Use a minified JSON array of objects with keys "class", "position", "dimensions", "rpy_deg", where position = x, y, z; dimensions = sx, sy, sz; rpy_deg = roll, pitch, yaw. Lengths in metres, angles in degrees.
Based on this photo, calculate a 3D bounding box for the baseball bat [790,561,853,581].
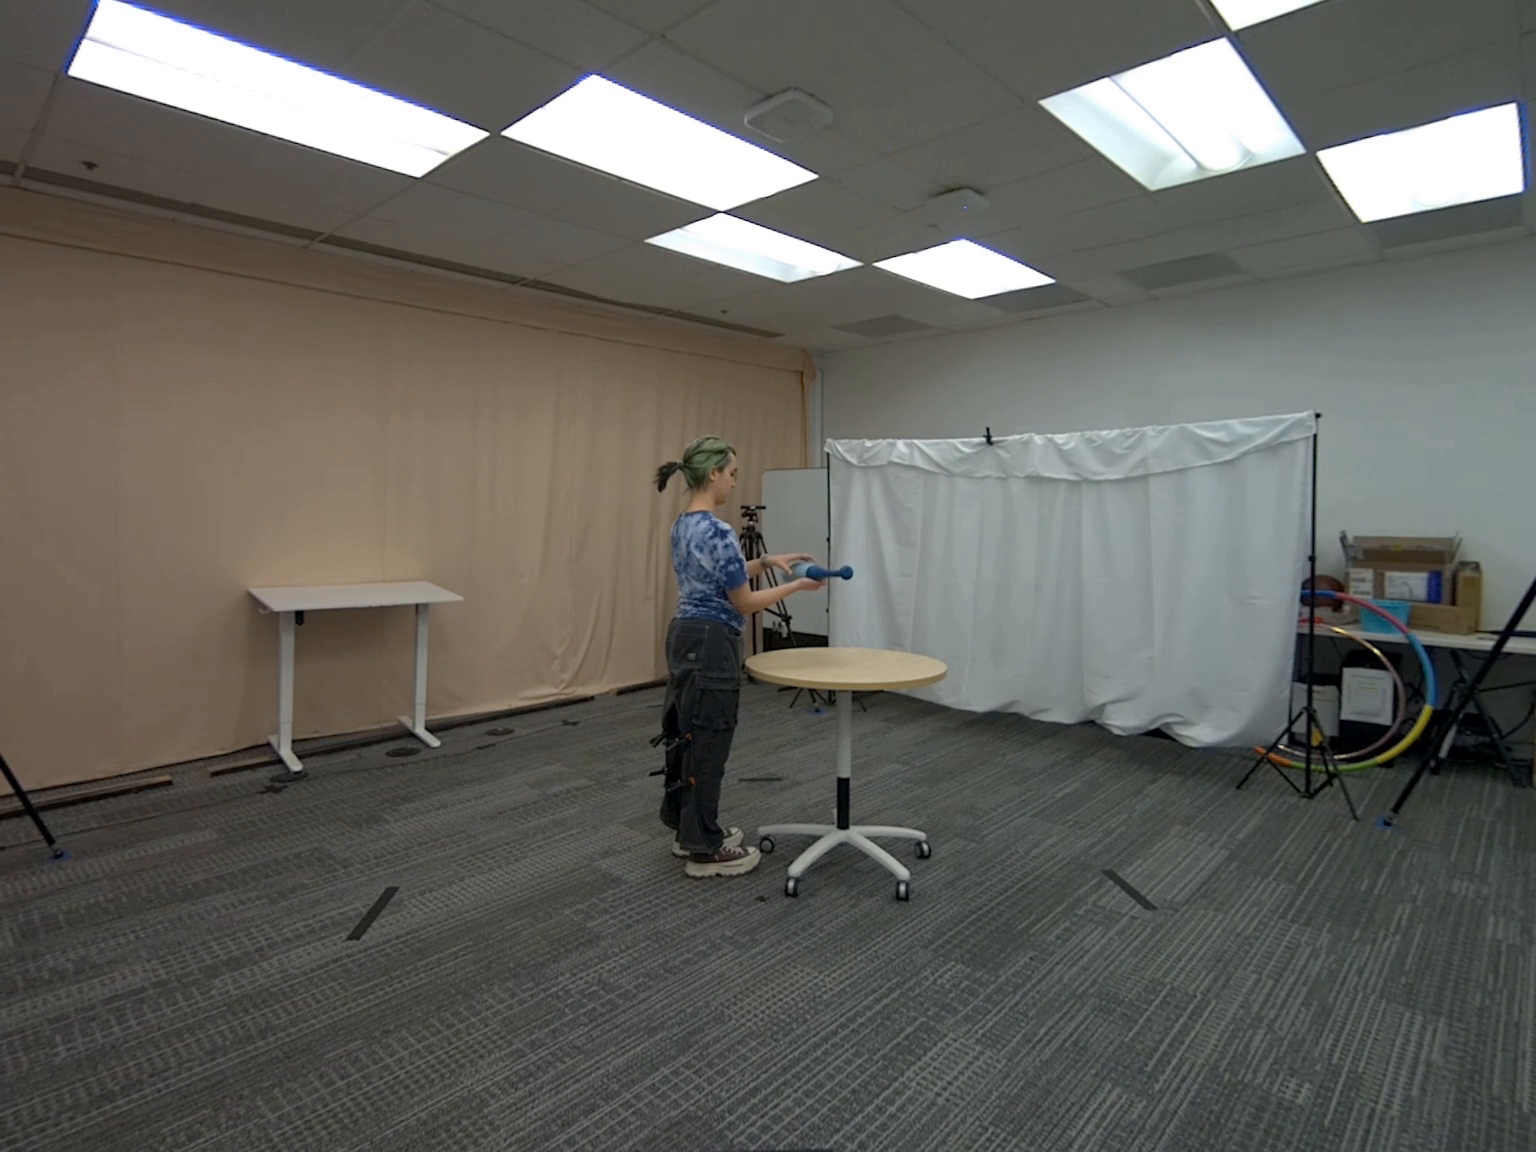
[{"class":"baseball bat","position":[0.186,-0.006,3.220],"dimensions":[0.087,0.089,0.553],"rpy_deg":[-1,2,-20]}]
